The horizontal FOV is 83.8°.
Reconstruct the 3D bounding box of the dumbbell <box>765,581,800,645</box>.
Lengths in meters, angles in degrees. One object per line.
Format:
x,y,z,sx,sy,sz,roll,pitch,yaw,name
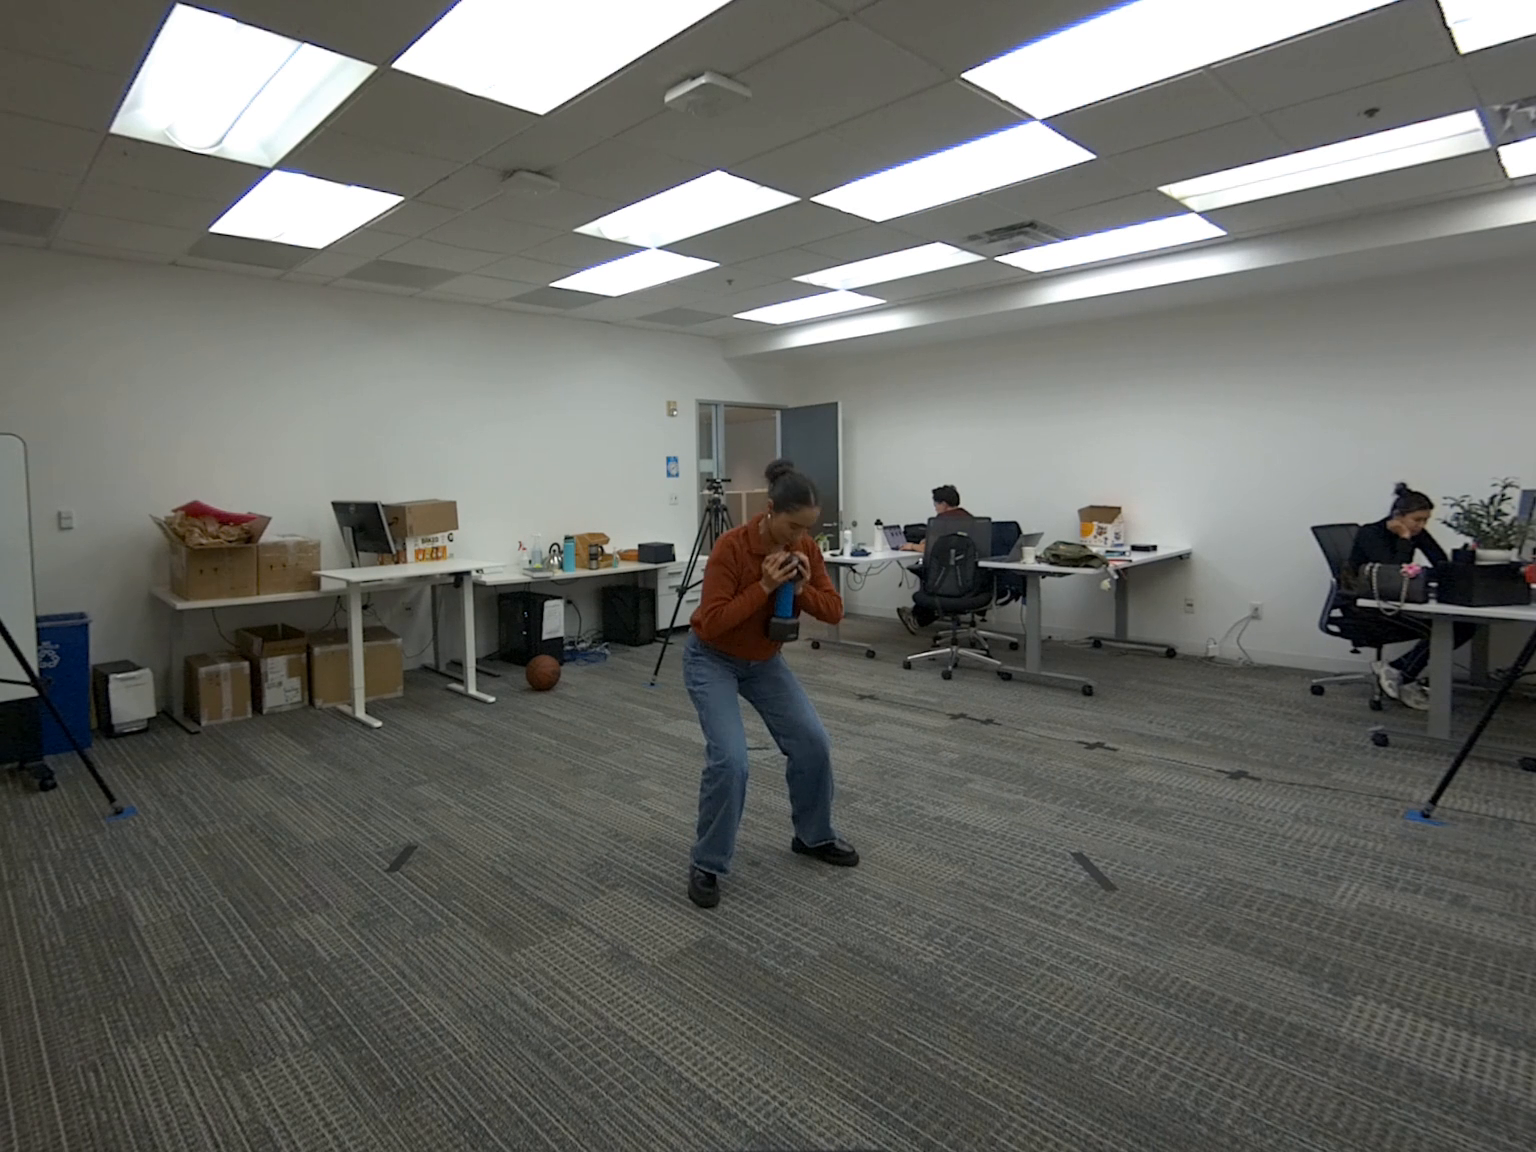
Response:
0.038,0.085,2.911,0.120,0.292,0.112,-5,7,-44,dumbbell
